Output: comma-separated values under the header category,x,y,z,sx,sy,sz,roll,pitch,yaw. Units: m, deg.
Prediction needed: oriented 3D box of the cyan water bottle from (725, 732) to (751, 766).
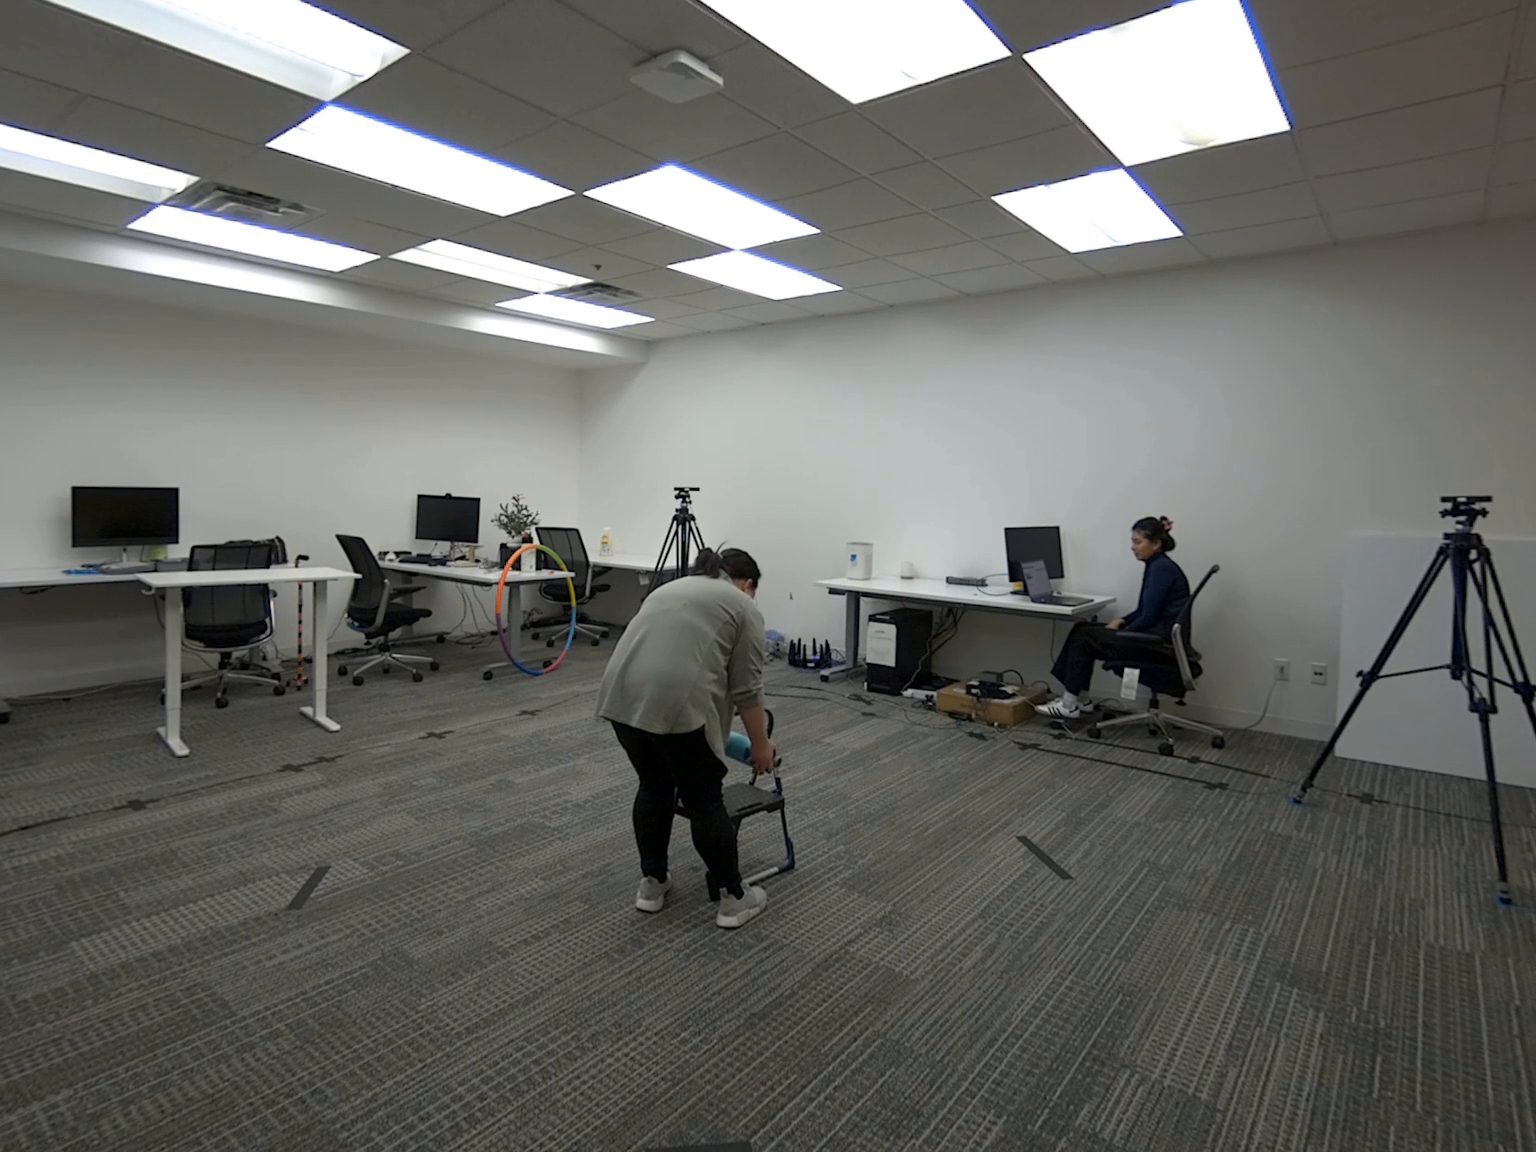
category,x,y,z,sx,sy,sz,roll,pitch,yaw
cyan water bottle,-0.093,0.606,2.981,0.292,0.092,0.090,12,9,29
